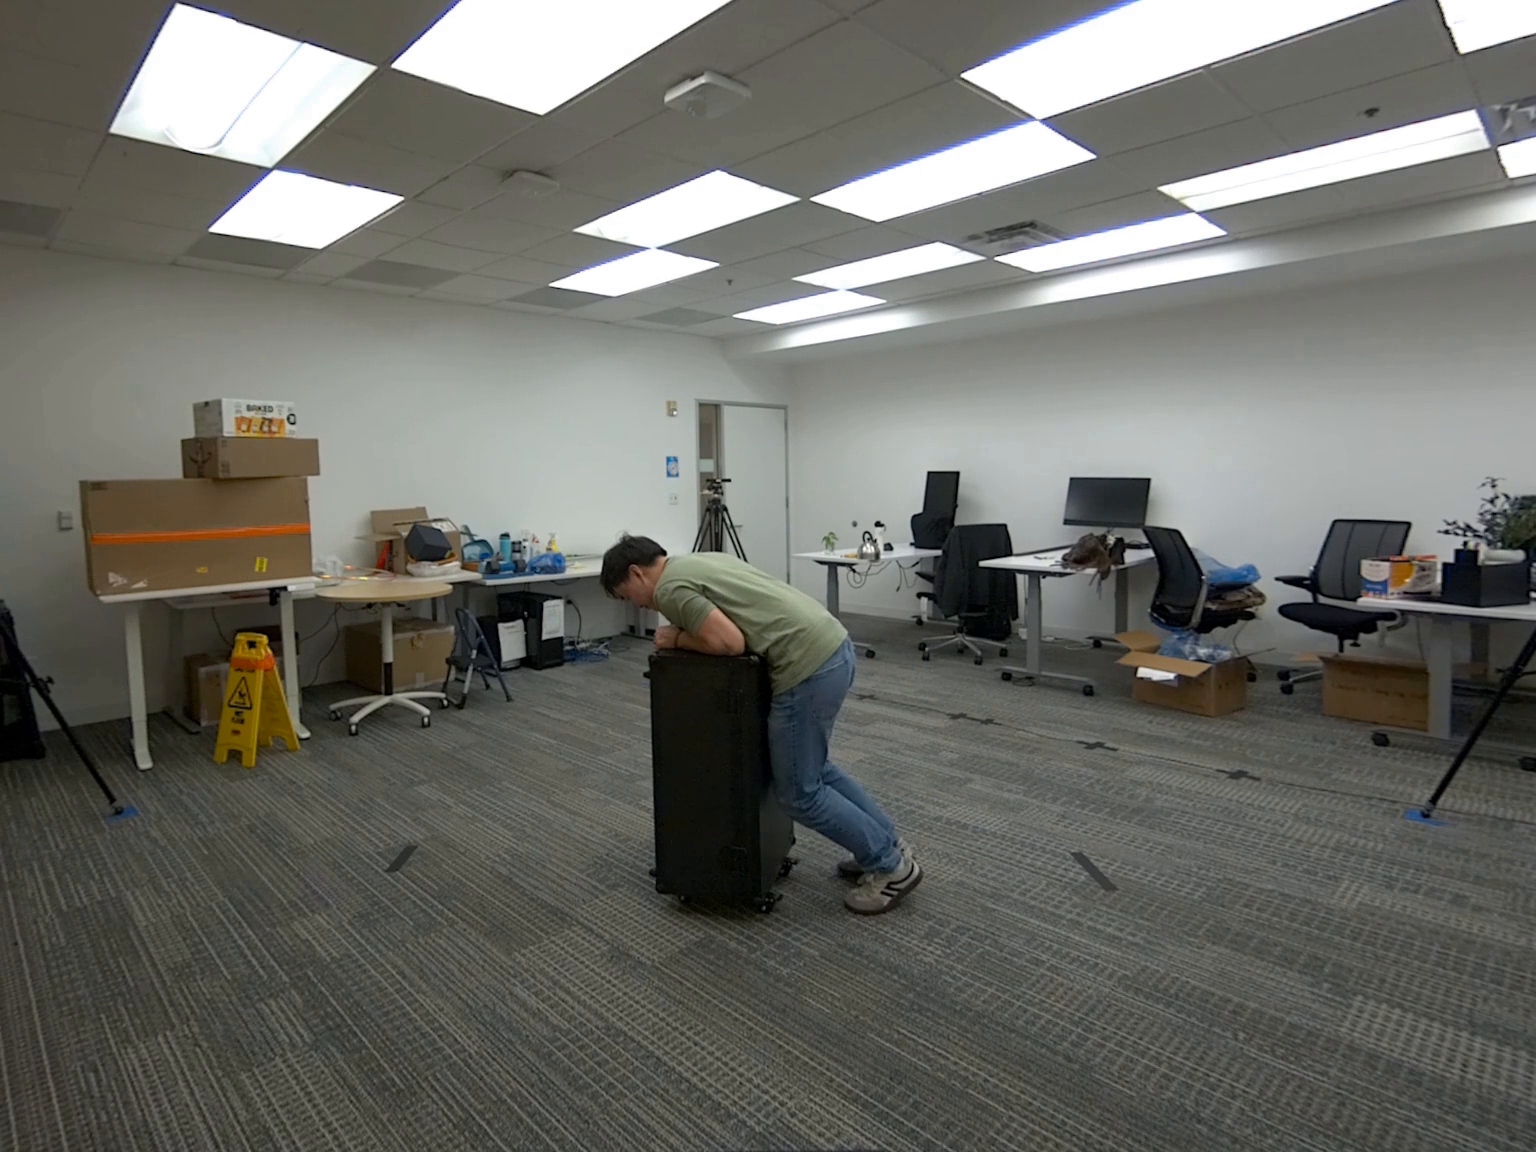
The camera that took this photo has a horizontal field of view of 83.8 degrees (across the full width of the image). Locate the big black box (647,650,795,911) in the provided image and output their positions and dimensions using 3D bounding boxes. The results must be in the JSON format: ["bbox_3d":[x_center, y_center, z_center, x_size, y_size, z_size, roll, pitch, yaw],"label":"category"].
[{"bbox_3d":[-0.150,0.651,2.906,0.402,0.859,0.515,-1,4,16],"label":"big black box"}]
